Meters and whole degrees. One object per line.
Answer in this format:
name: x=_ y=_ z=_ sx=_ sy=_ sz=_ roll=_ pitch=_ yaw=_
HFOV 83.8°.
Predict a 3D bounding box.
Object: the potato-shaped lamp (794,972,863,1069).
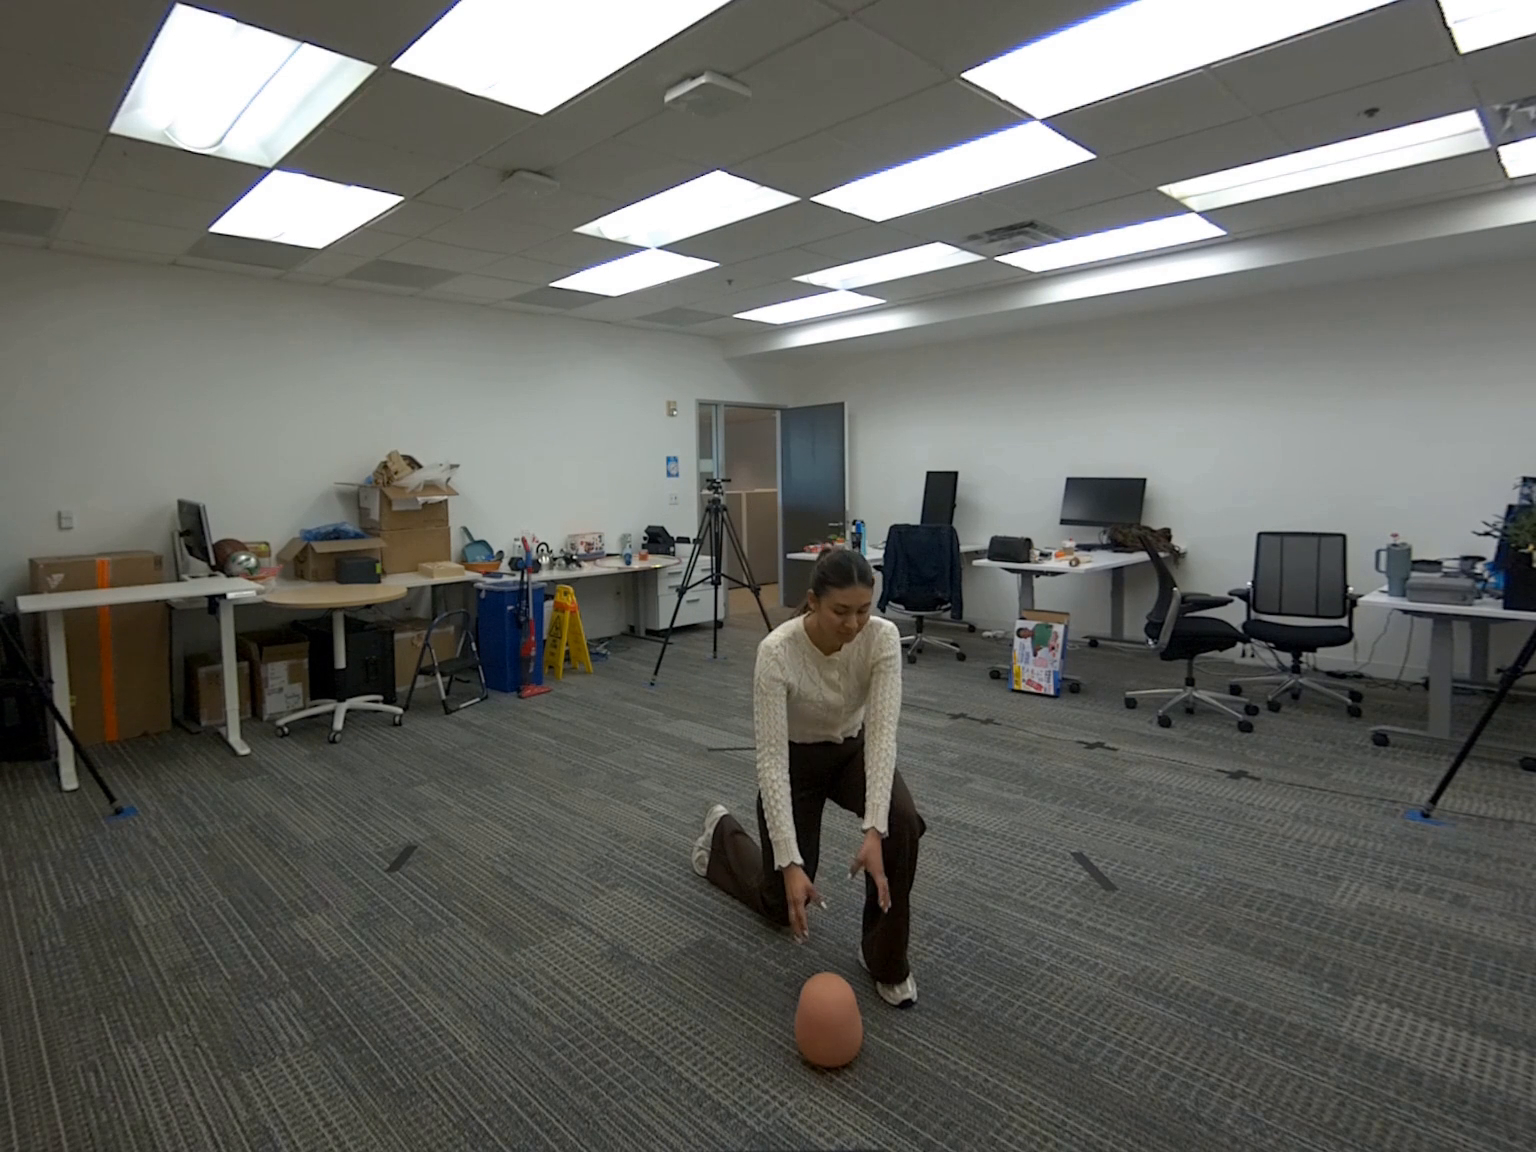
potato-shaped lamp: x=0.146 y=1.066 z=2.067 sx=0.166 sy=0.197 sz=0.171 roll=-5 pitch=7 yaw=10
